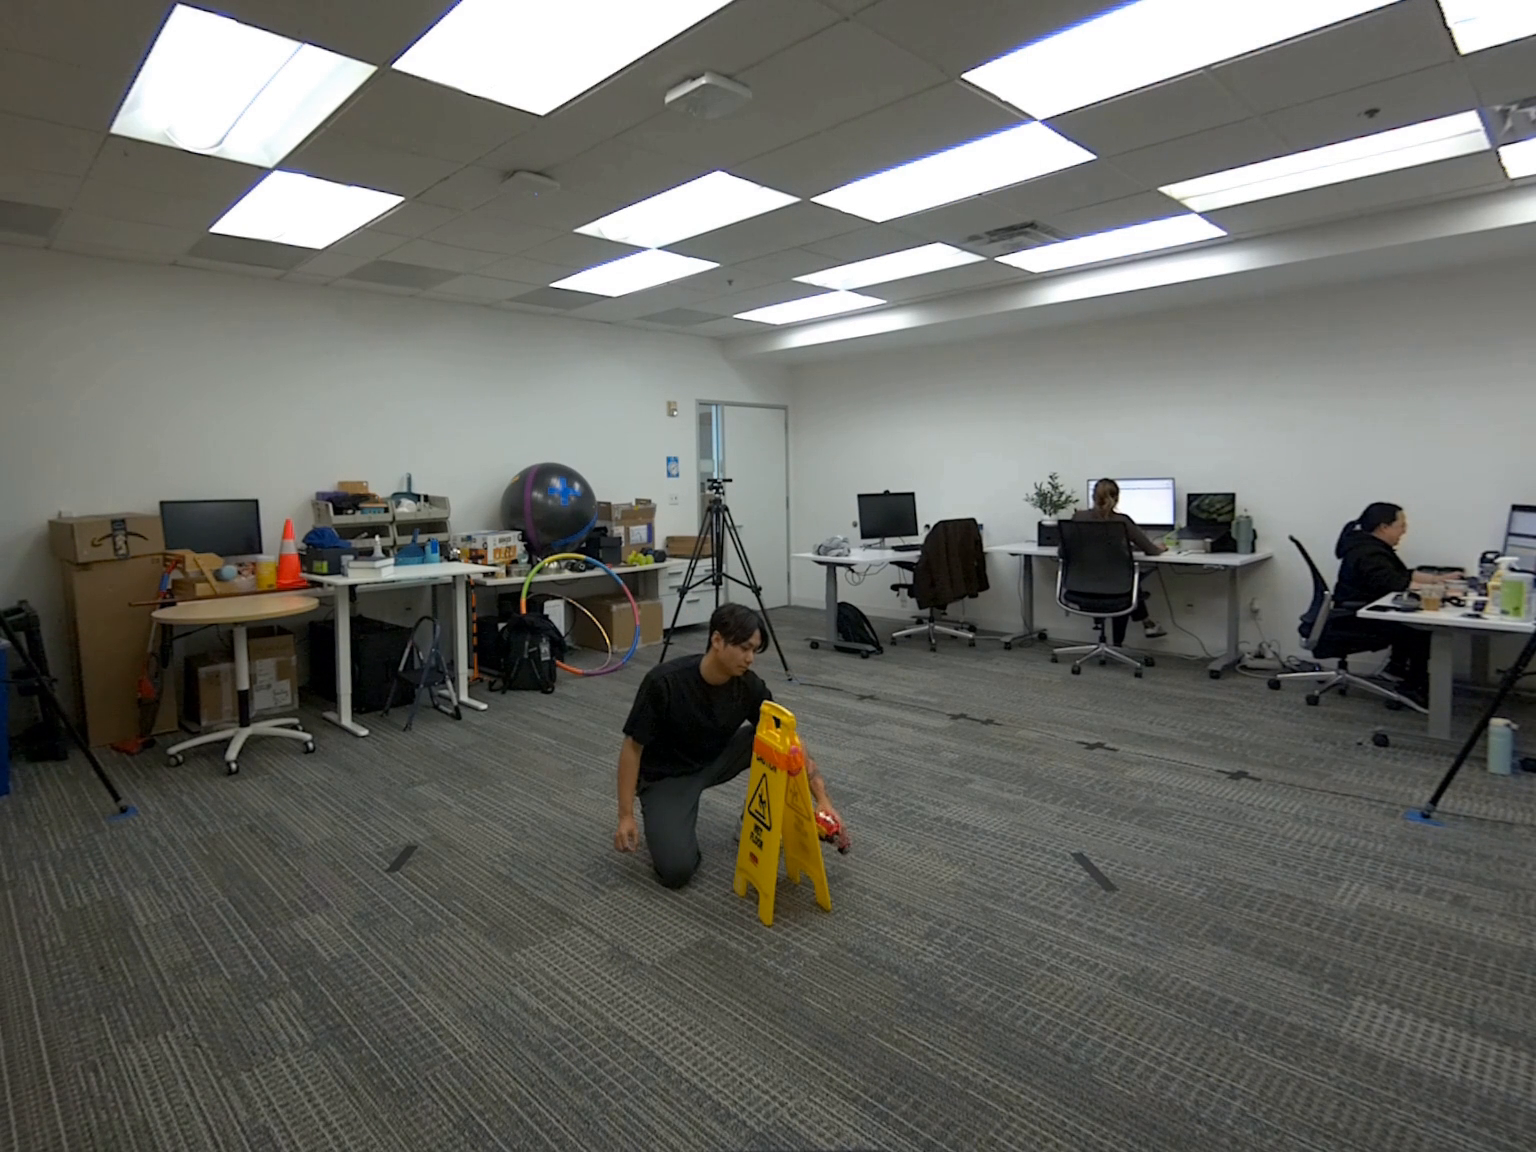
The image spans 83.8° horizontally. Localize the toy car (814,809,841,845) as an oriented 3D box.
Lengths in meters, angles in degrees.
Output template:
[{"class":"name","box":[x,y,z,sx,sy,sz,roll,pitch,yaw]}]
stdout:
[{"class":"toy car","box":[0.203,0.870,2.945,0.135,0.246,0.083,28,60,37]}]
